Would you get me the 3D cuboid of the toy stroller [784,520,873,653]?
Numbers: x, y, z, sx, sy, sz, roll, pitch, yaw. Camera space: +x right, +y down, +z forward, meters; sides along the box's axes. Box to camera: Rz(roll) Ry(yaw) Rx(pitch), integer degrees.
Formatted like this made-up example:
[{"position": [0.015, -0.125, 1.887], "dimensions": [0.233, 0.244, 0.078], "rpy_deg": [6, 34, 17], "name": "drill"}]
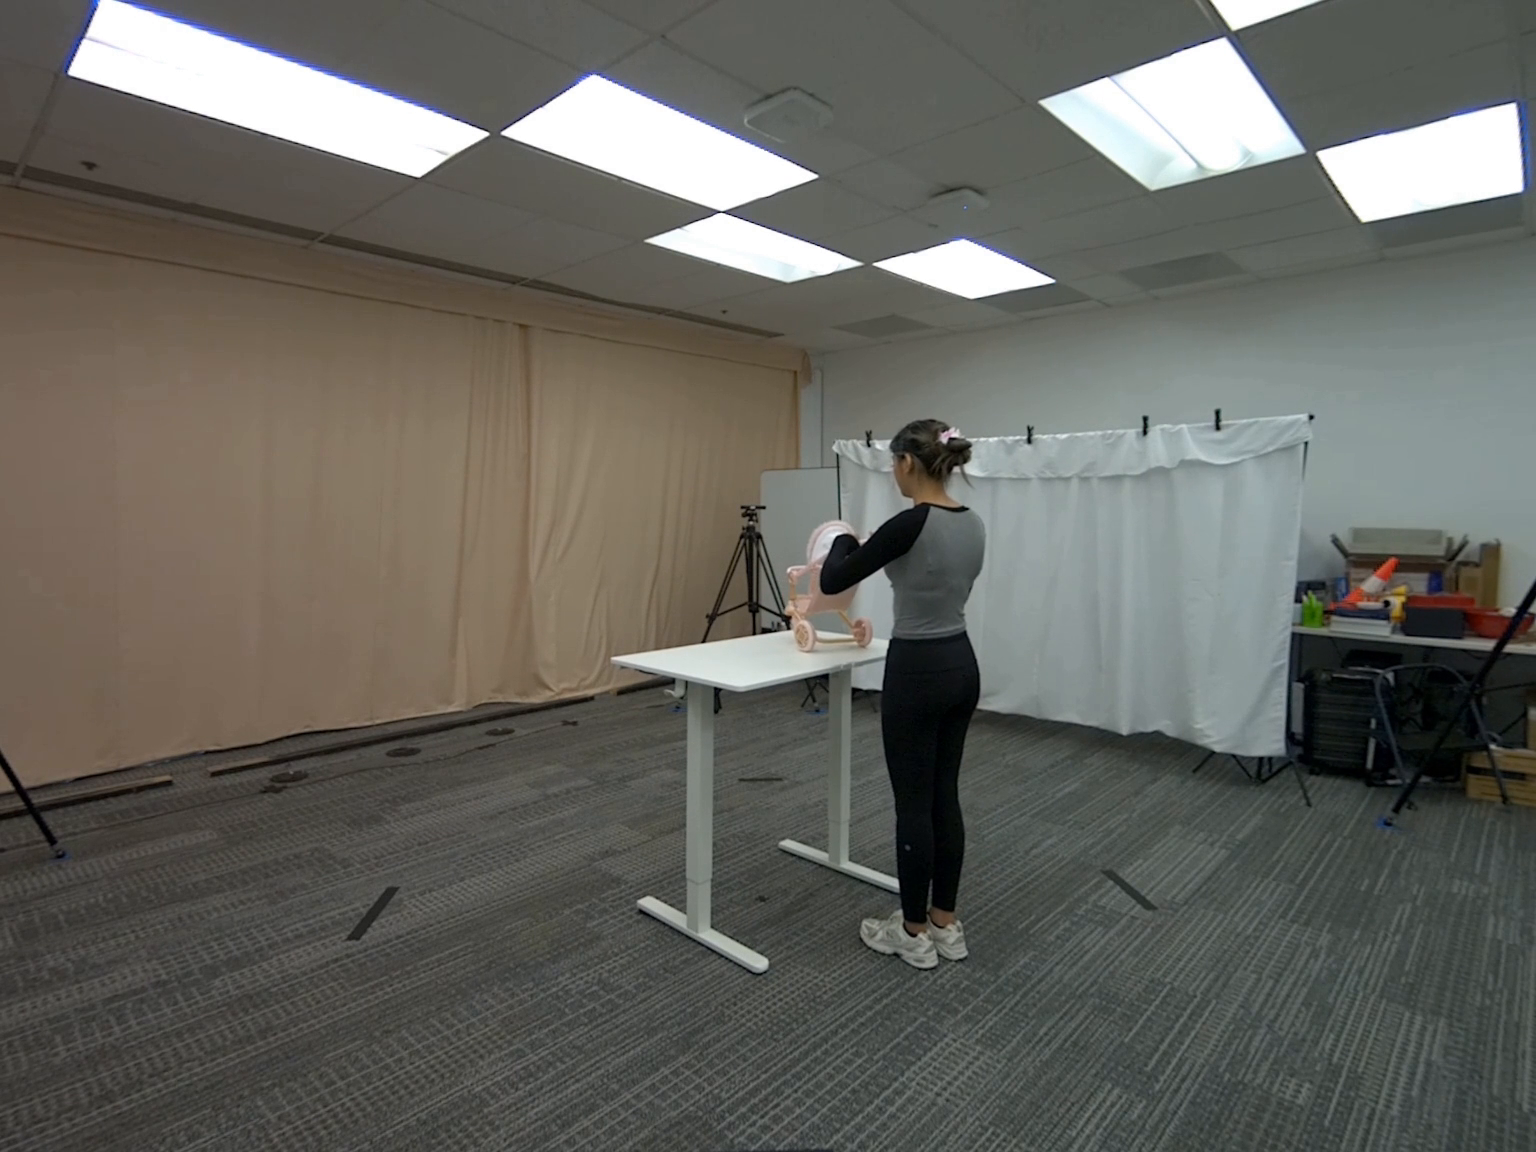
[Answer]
[{"position": [0.220, 0.033, 3.025], "dimensions": [0.275, 0.530, 0.352], "rpy_deg": [0, 23, -25], "name": "toy stroller"}]
